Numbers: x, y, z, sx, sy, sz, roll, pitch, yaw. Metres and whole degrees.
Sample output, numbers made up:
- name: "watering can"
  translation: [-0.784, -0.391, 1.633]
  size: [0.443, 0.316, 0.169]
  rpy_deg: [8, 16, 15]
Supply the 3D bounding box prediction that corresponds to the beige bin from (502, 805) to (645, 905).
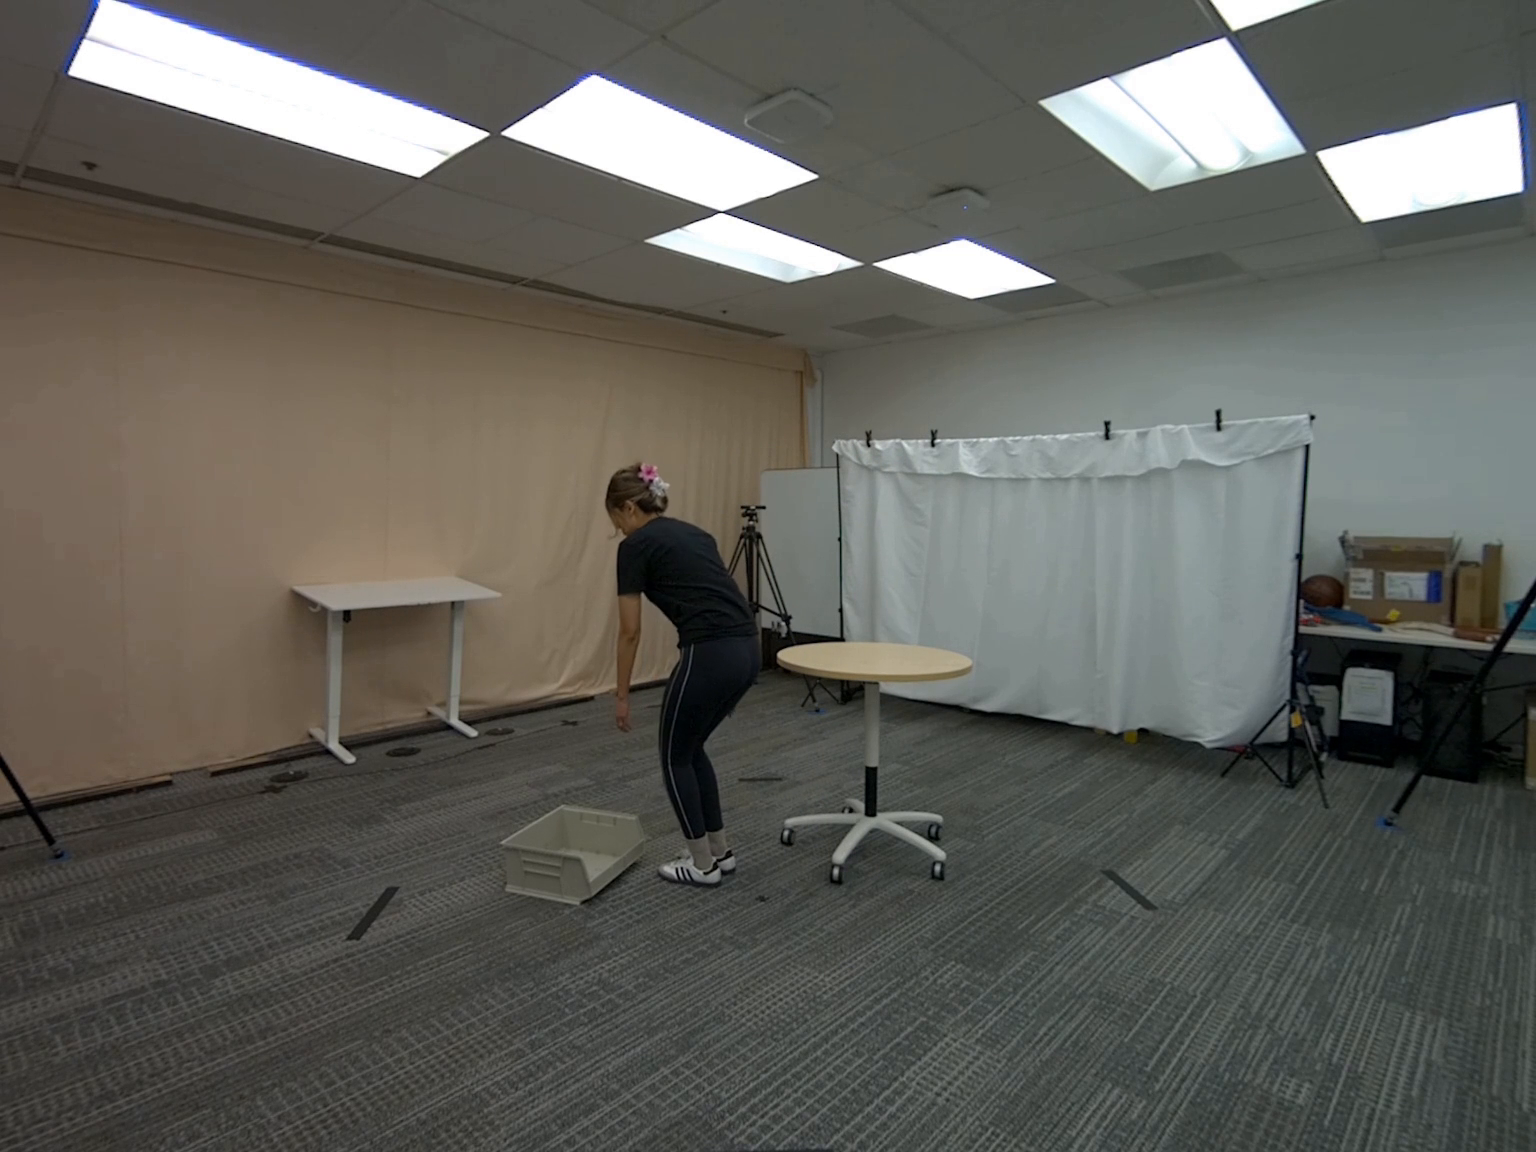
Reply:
- name: "beige bin"
  translation: [-0.720, 1.041, 3.178]
  size: [0.386, 0.188, 0.414]
  rpy_deg: [0, 5, 21]
